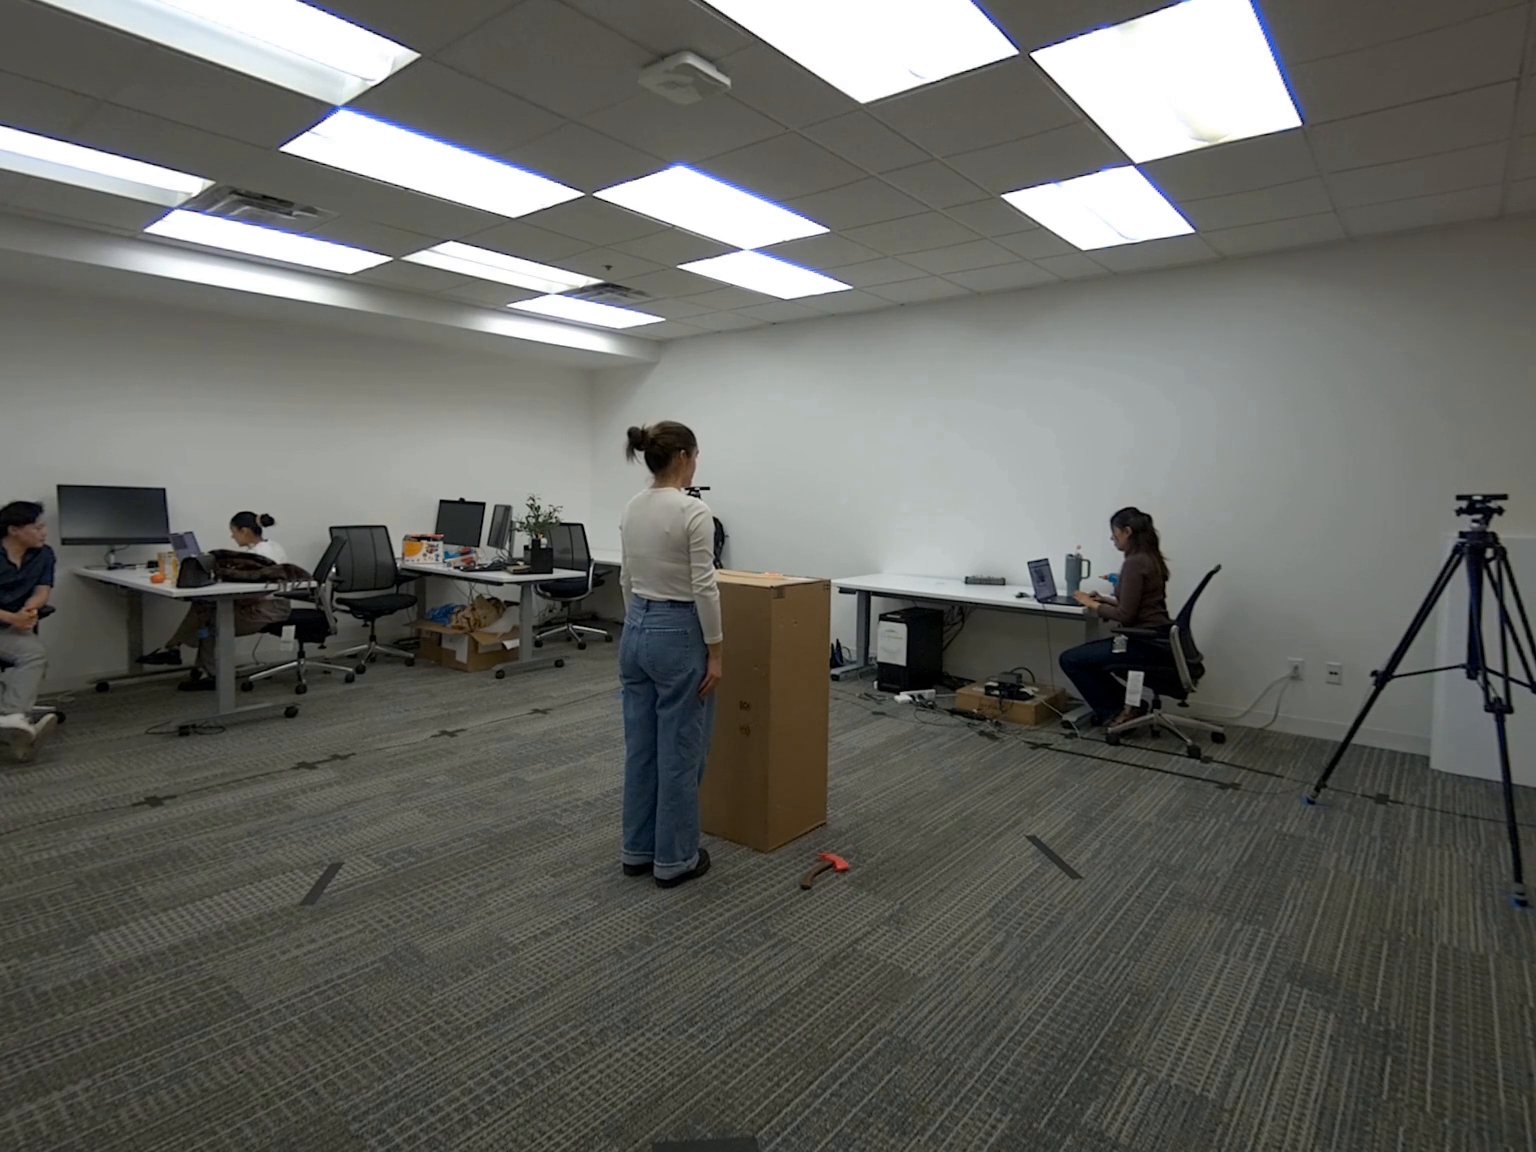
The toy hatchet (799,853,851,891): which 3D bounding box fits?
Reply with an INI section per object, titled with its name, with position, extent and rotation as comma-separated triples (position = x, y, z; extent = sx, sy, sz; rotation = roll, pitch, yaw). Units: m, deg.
[toy hatchet]
position = 0.203, 1.068, 3.056
extent = 0.134, 0.029, 0.265
rotation = 6, 9, 20
